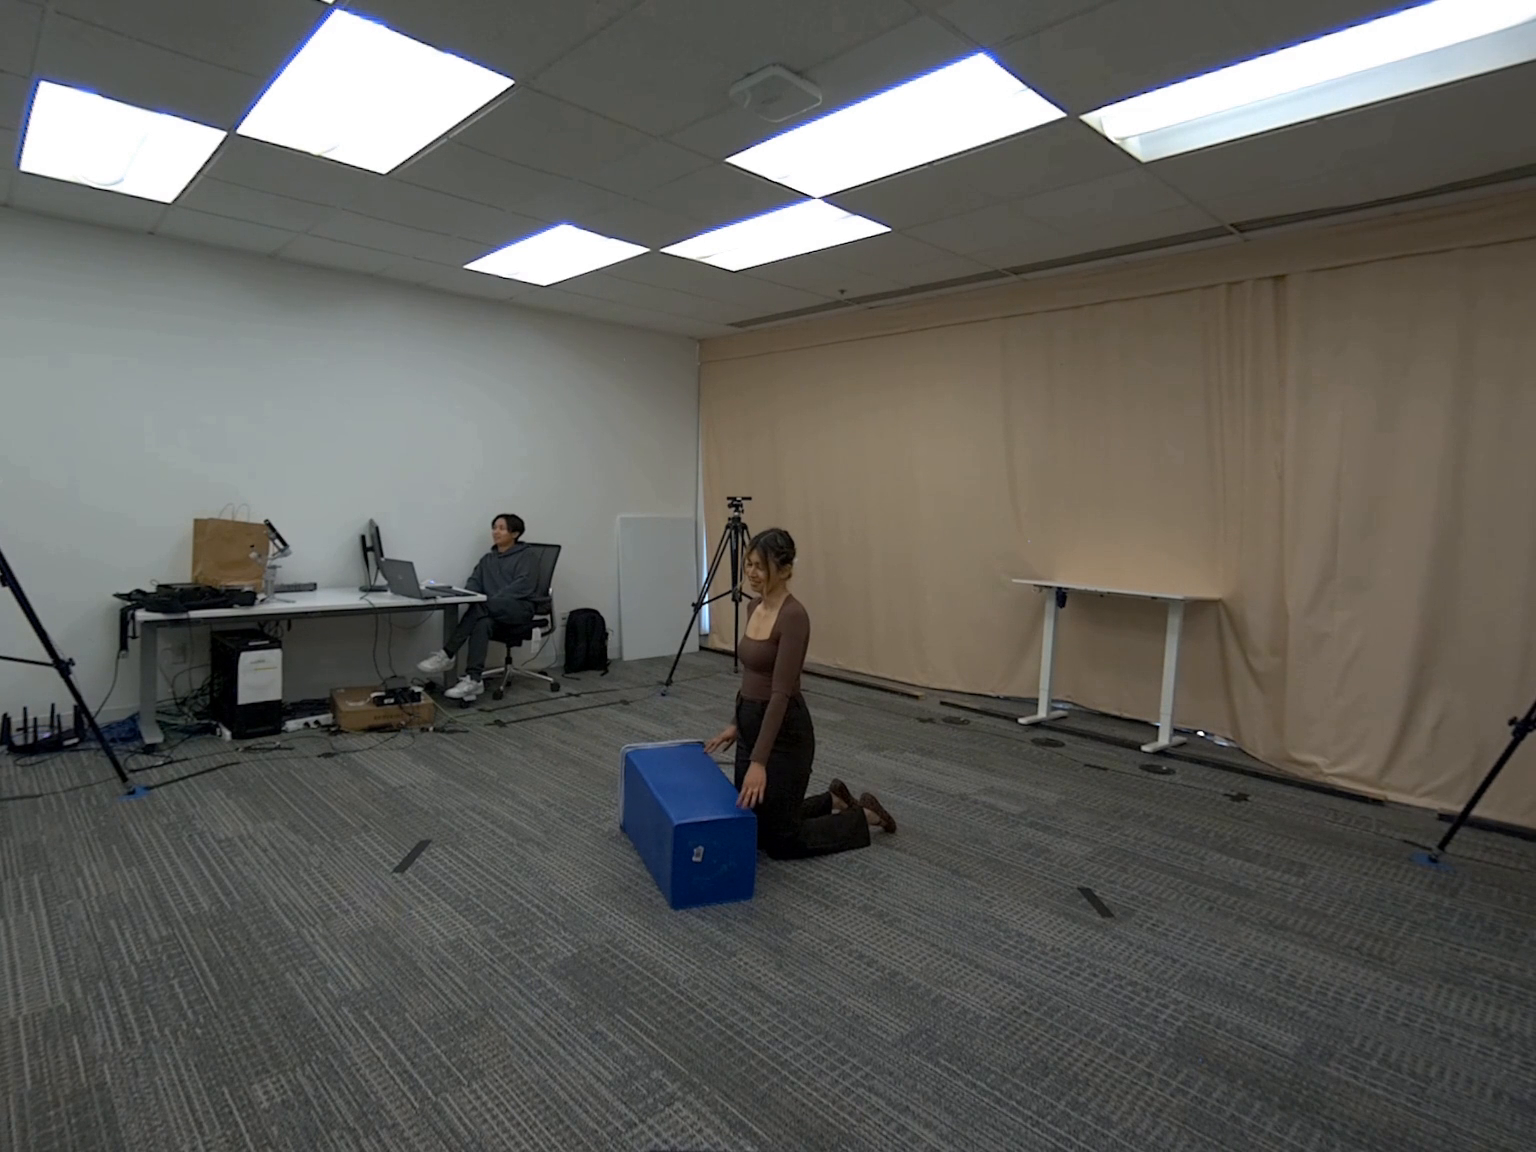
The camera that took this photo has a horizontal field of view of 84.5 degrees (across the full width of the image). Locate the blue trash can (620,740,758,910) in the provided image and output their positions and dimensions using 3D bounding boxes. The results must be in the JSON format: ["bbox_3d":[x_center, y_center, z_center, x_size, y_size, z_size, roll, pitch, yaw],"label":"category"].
[{"bbox_3d":[-0.323,0.921,3.194,0.368,0.376,0.727,1,6,-20],"label":"blue trash can"}]
